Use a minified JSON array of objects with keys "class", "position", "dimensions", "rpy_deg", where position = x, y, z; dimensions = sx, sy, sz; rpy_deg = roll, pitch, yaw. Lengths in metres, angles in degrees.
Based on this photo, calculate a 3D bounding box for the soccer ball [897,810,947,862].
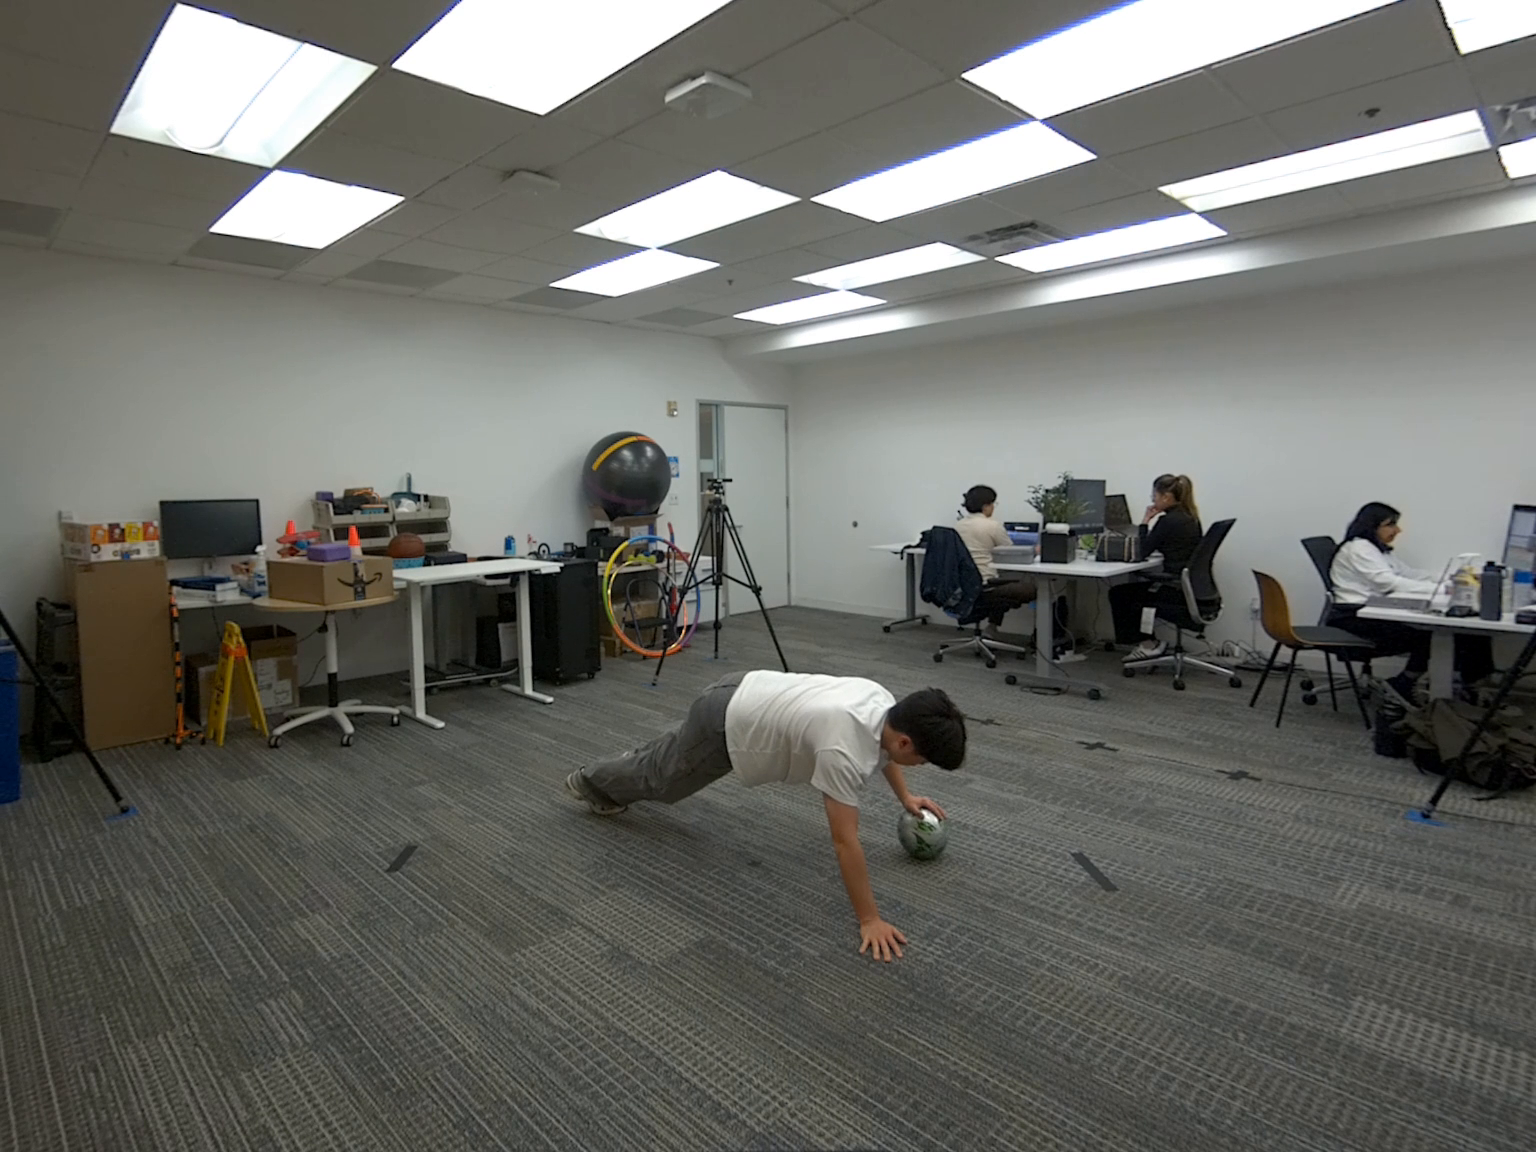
[{"class":"soccer ball","position":[0.567,0.935,3.136],"dimensions":[0.187,0.187,0.188],"rpy_deg":[-1,5,-2]}]
